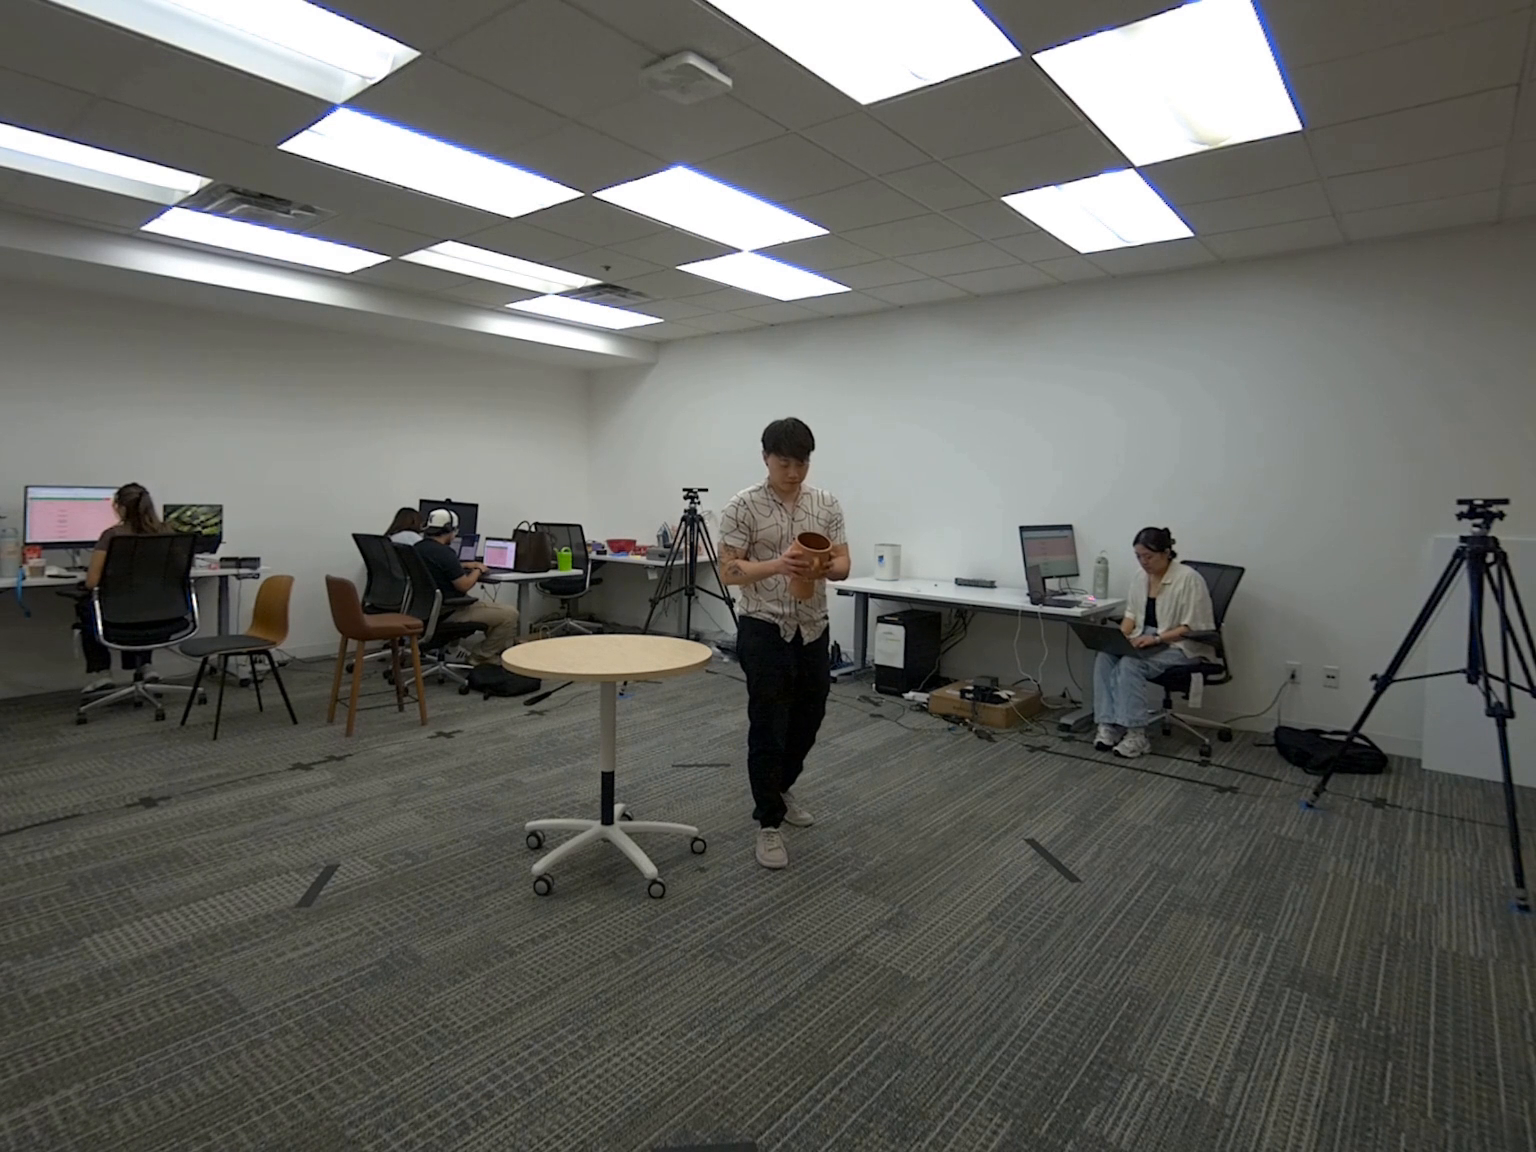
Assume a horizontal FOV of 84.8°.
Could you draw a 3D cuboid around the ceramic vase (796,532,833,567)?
[{"bbox_3d":[0.135,-0.036,3.043,0.139,0.215,0.157,27,35,25],"label":"ceramic vase"}]
